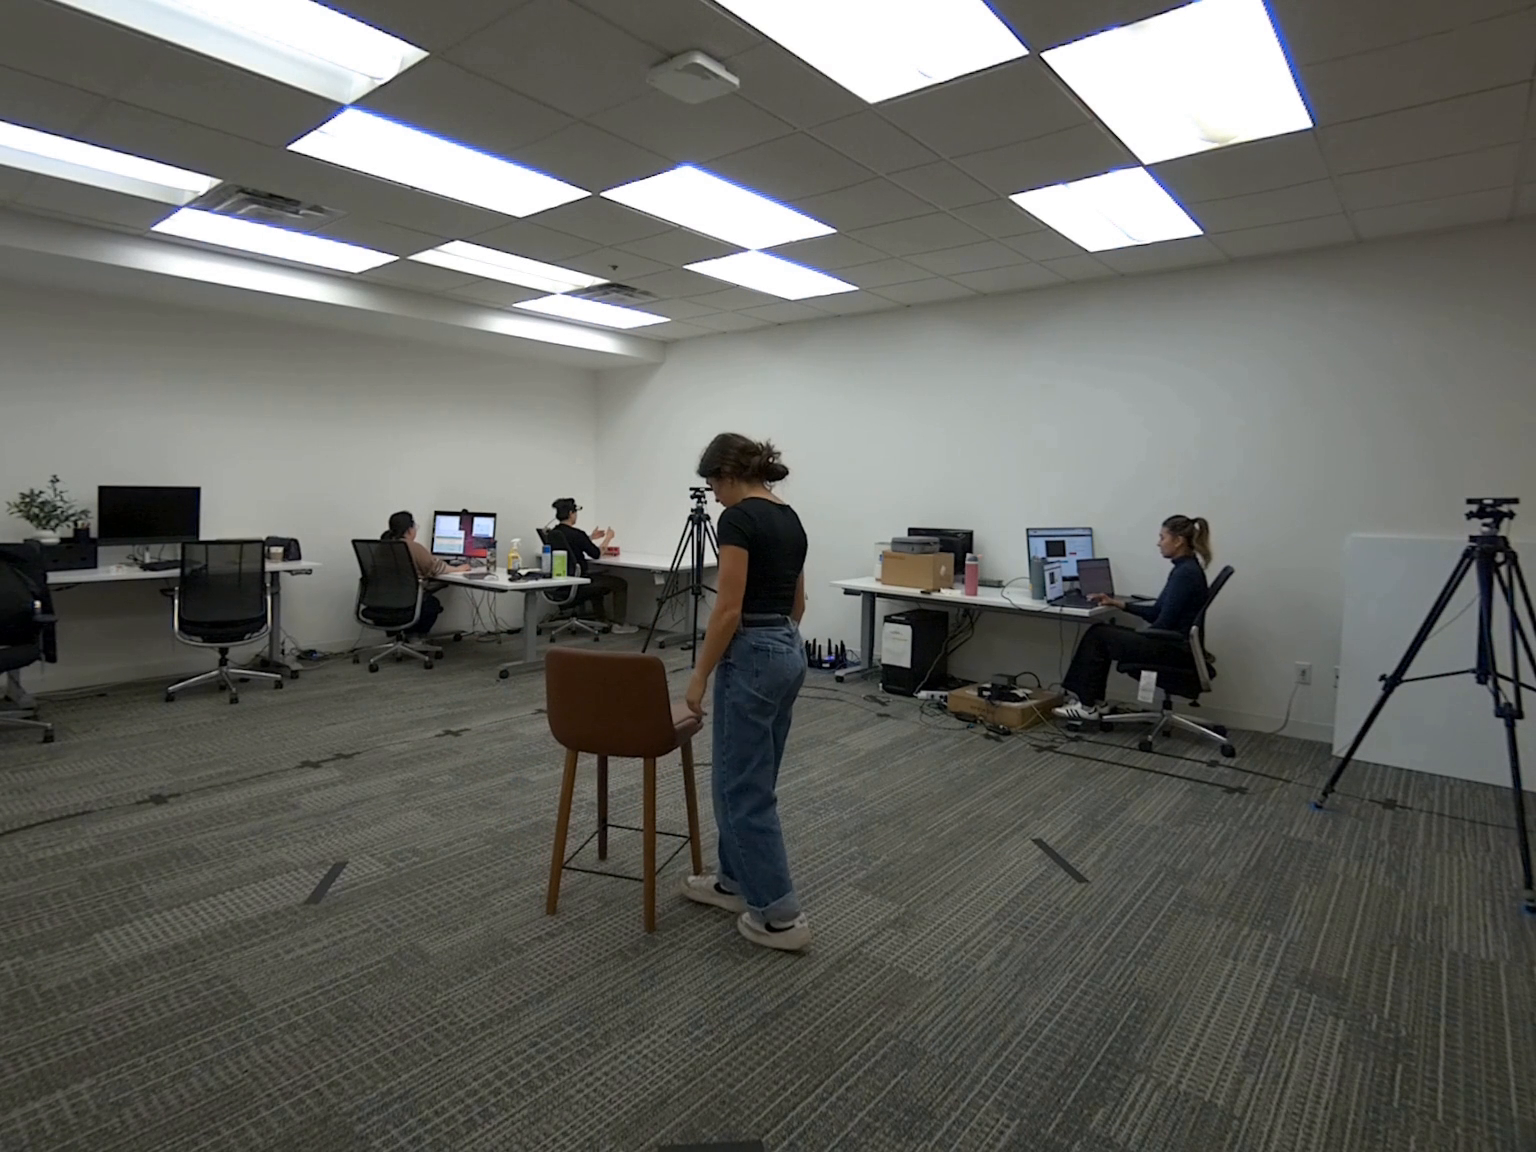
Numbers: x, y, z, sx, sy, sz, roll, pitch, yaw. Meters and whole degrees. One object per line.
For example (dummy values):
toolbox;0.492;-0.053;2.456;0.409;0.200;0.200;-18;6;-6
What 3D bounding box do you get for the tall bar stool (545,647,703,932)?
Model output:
tall bar stool;-0.495;0.649;2.892;0.465;0.886;0.460;1;4;17
